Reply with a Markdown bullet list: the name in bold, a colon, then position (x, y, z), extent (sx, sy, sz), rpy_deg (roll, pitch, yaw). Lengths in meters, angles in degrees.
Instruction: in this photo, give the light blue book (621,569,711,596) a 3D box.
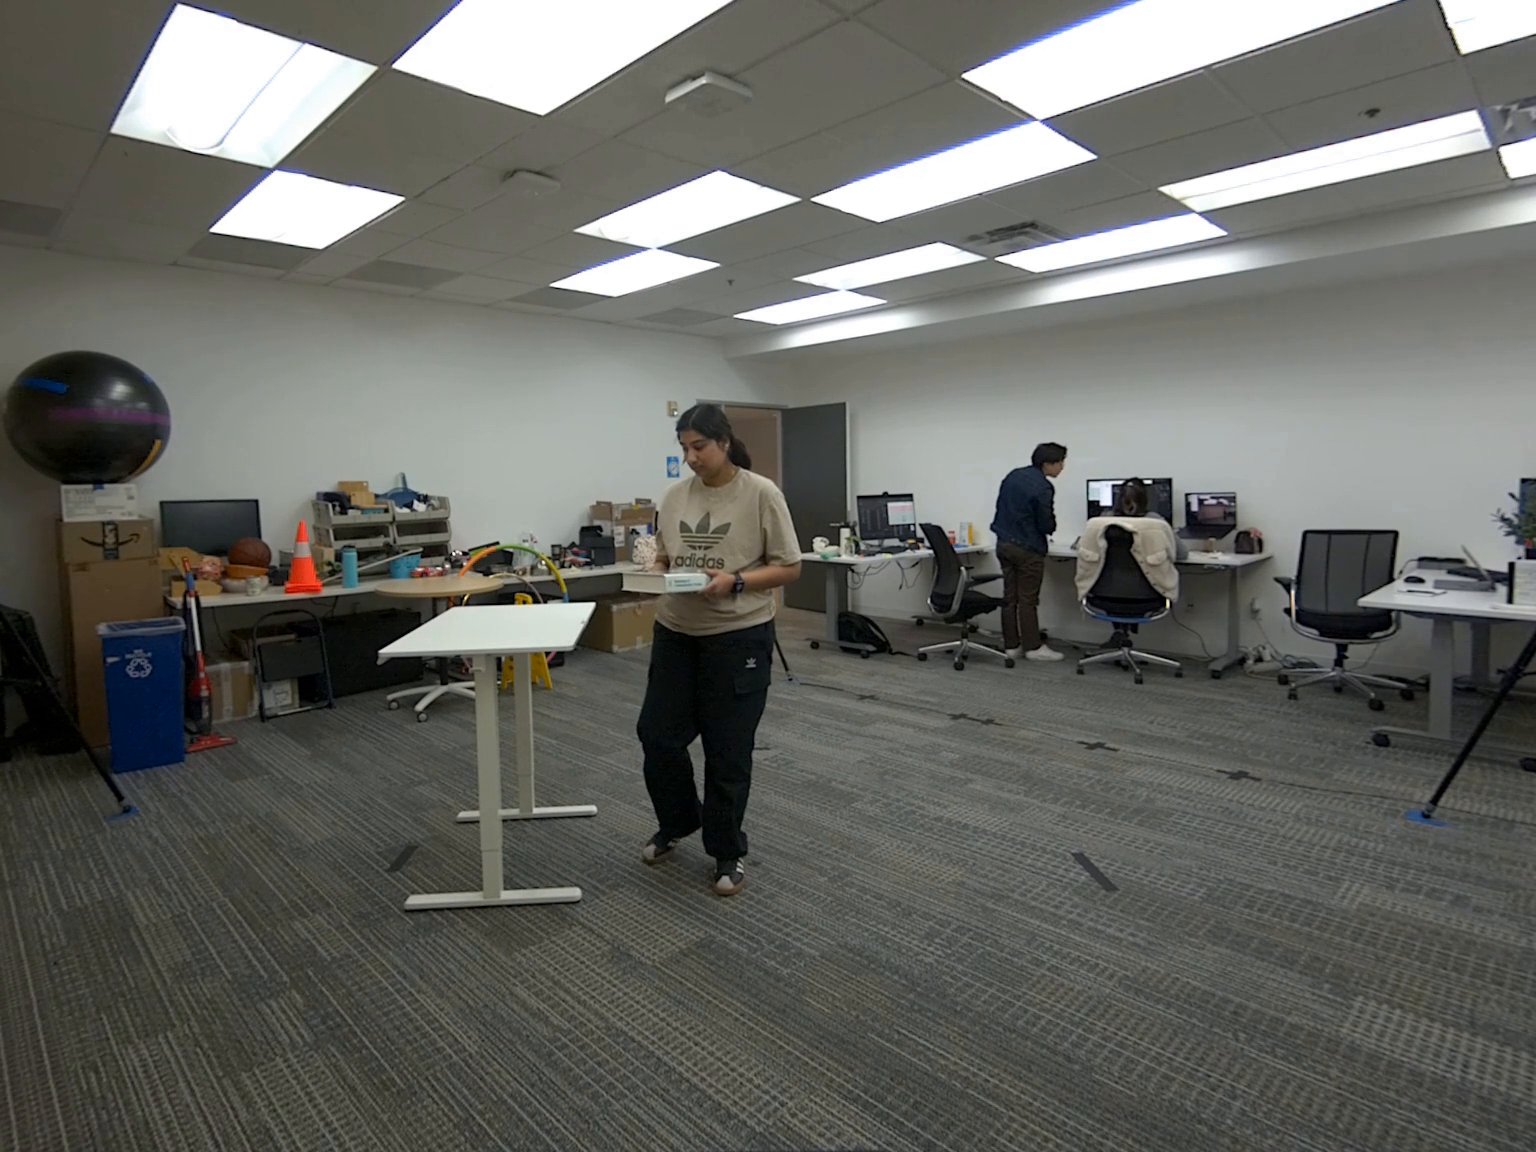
- **light blue book**: position (-0.335, 0.021, 2.756), extent (0.186, 0.059, 0.268), rpy_deg (0, 2, -40)
